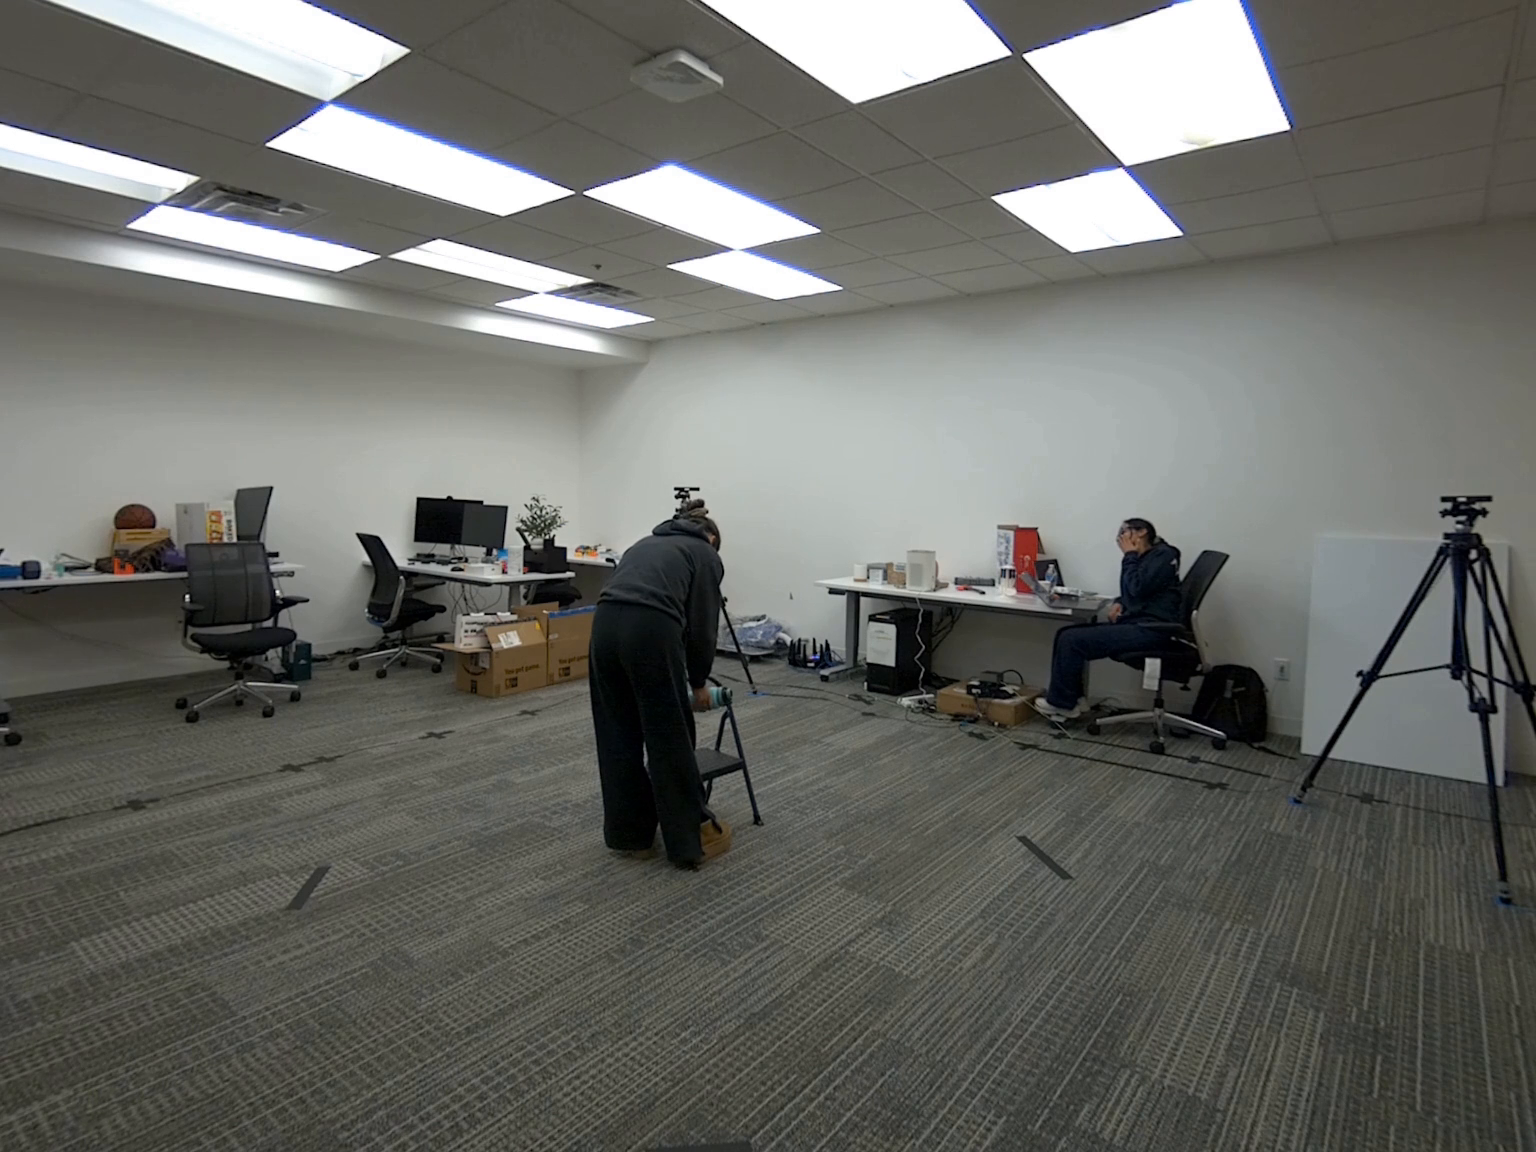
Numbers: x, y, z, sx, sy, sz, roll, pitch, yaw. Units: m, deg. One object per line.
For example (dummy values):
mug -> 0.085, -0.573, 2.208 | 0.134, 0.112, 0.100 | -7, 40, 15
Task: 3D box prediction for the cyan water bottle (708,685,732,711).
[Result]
cyan water bottle -> -0.269, 0.501, 3.462 | 0.286, 0.092, 0.091 | -12, 2, 13
